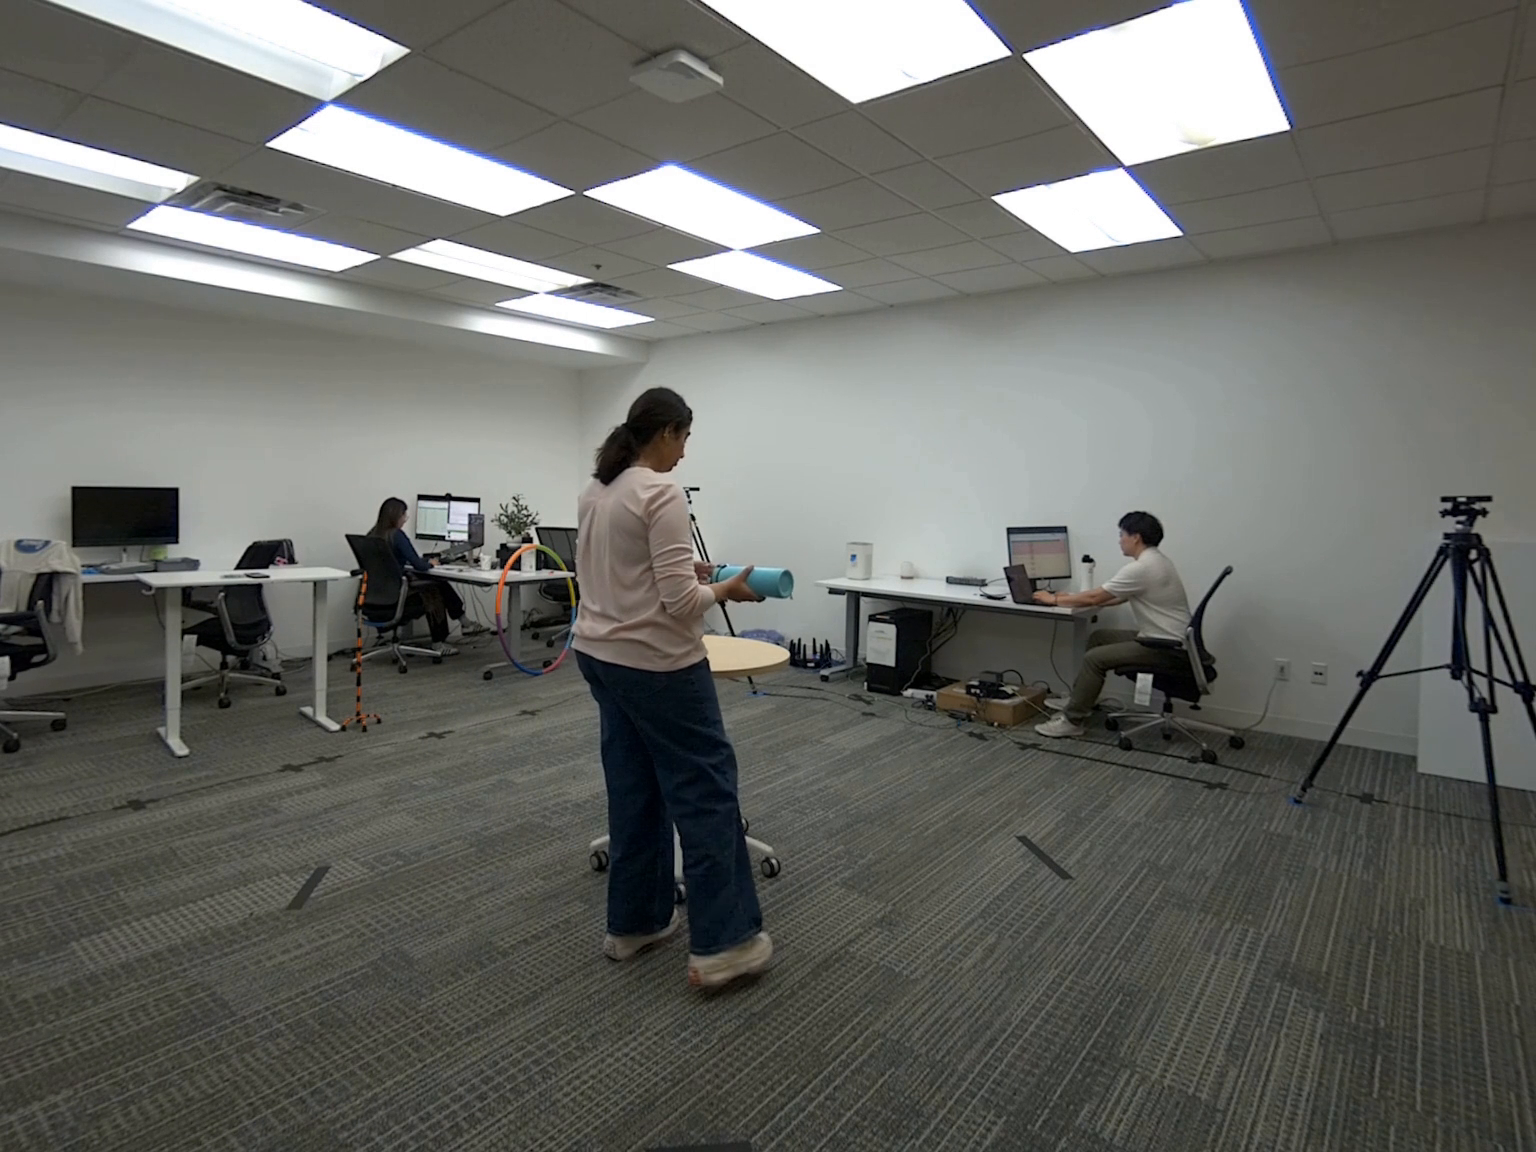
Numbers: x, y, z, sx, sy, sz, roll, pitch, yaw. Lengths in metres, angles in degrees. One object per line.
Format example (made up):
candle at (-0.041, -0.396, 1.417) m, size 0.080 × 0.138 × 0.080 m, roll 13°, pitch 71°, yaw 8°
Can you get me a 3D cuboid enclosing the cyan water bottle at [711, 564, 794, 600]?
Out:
cyan water bottle at (-0.066, 0.016, 2.620) m, size 0.292 × 0.092 × 0.090 m, roll 4°, pitch 5°, yaw 36°
